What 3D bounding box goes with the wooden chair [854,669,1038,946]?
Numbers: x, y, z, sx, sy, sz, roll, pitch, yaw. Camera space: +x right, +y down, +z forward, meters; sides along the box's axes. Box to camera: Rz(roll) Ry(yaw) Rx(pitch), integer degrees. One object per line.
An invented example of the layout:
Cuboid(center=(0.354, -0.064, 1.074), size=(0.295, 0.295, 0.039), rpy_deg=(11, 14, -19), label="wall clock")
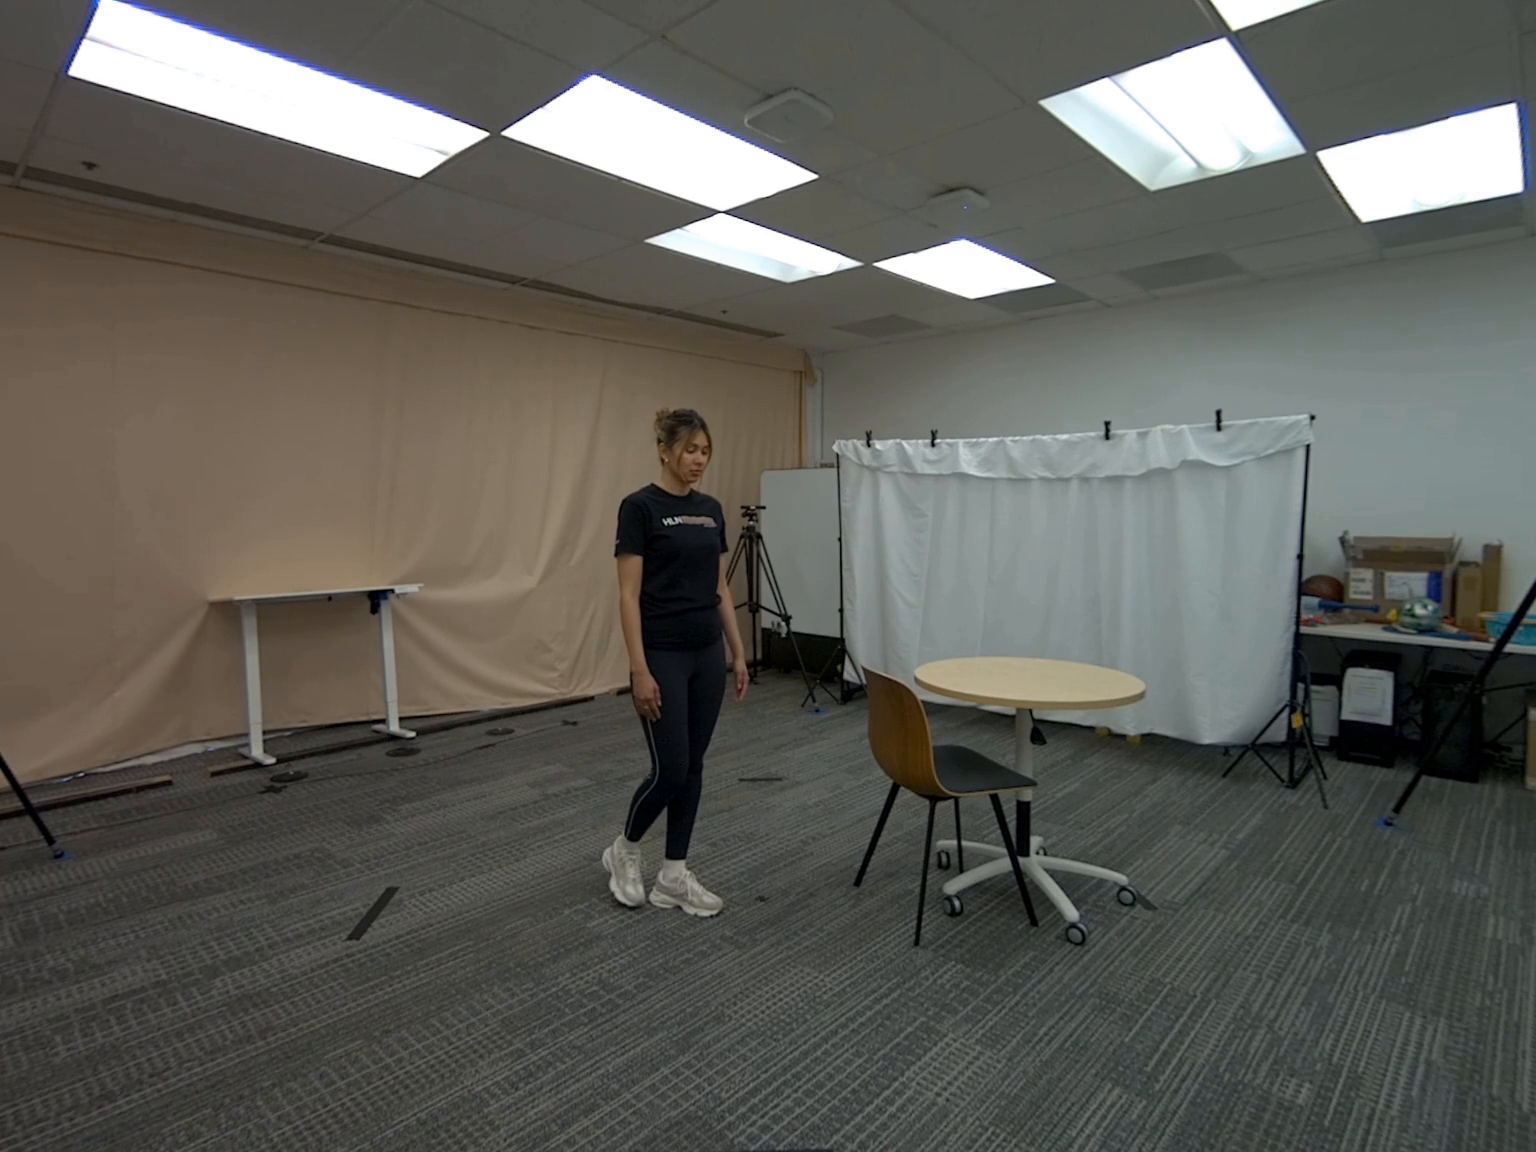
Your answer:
Cuboid(center=(0.617, 0.718, 2.903), size=(0.514, 0.875, 0.488), rpy_deg=(-5, 4, -18), label="wooden chair")
